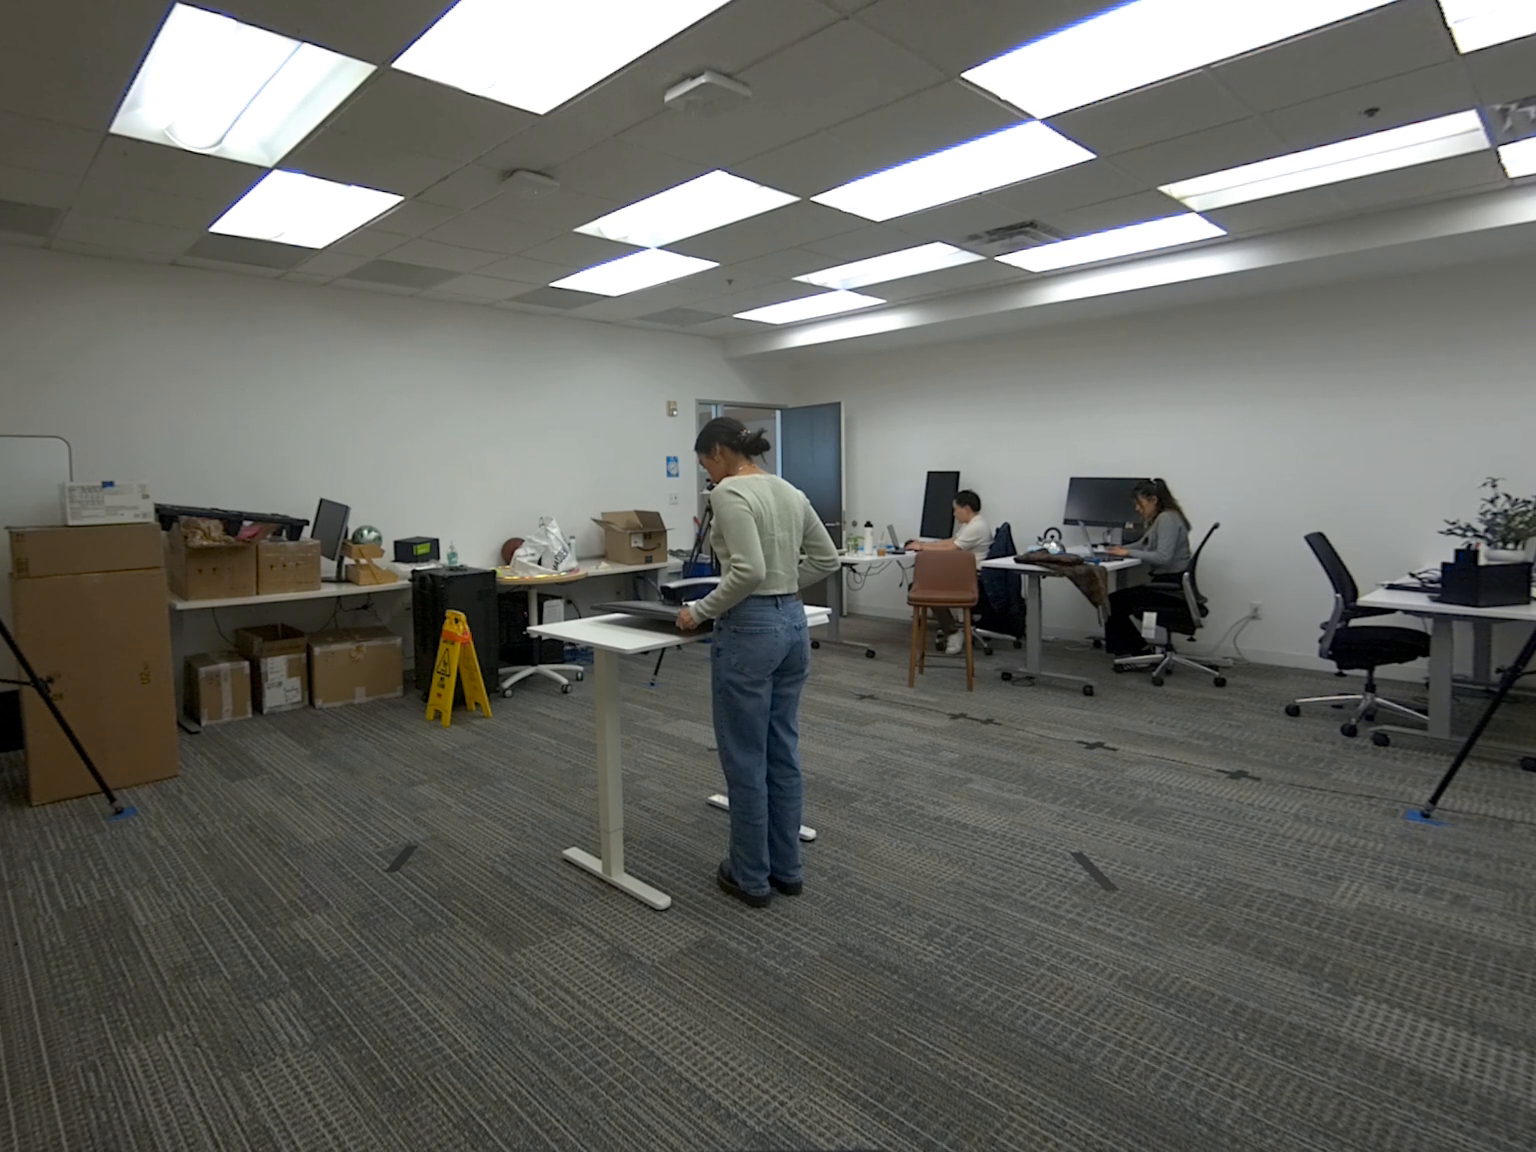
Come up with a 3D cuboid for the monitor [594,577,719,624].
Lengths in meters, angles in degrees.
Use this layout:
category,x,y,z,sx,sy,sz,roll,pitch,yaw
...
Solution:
category,x,y,z,sx,sy,sz,roll,pitch,yaw
monitor,-0.278,0.093,3.146,0.512,0.186,0.554,-16,12,-43
